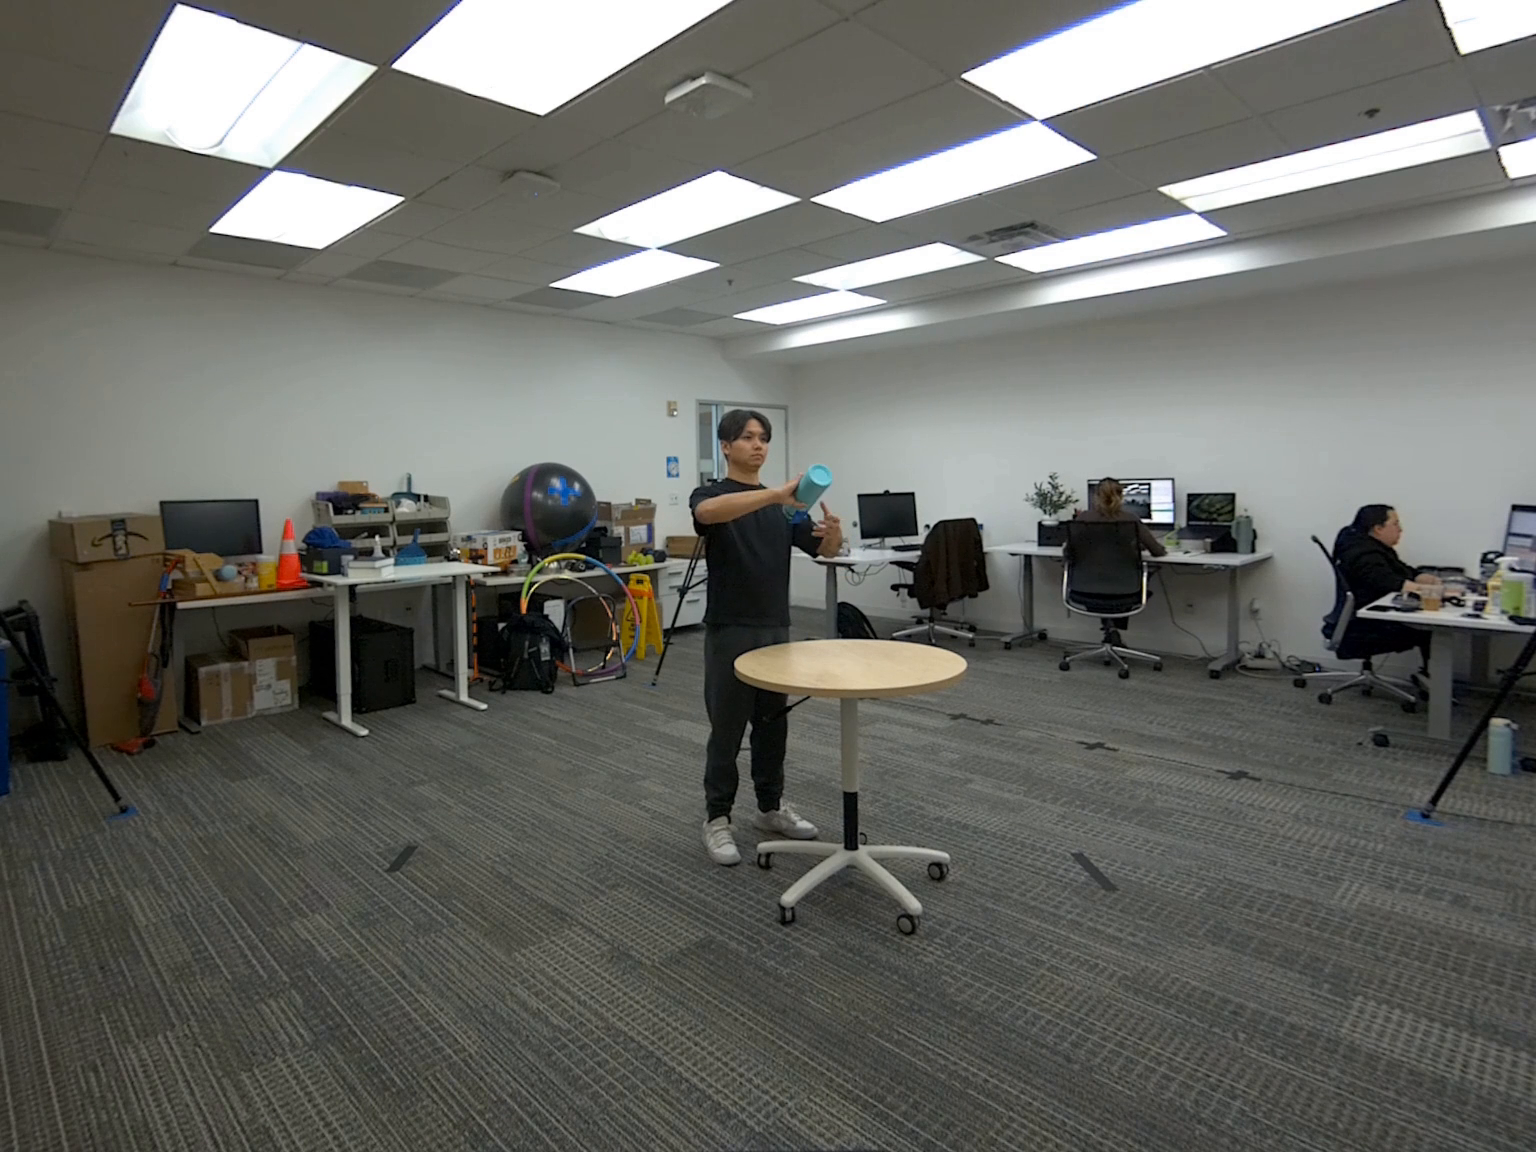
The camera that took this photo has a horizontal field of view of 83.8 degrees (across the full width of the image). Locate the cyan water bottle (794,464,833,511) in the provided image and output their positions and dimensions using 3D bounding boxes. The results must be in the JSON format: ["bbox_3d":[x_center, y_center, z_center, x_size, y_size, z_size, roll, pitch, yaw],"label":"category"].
[{"bbox_3d":[0.119,-0.274,2.953,0.091,0.095,0.281,-2,-26,-21],"label":"cyan water bottle"}]
